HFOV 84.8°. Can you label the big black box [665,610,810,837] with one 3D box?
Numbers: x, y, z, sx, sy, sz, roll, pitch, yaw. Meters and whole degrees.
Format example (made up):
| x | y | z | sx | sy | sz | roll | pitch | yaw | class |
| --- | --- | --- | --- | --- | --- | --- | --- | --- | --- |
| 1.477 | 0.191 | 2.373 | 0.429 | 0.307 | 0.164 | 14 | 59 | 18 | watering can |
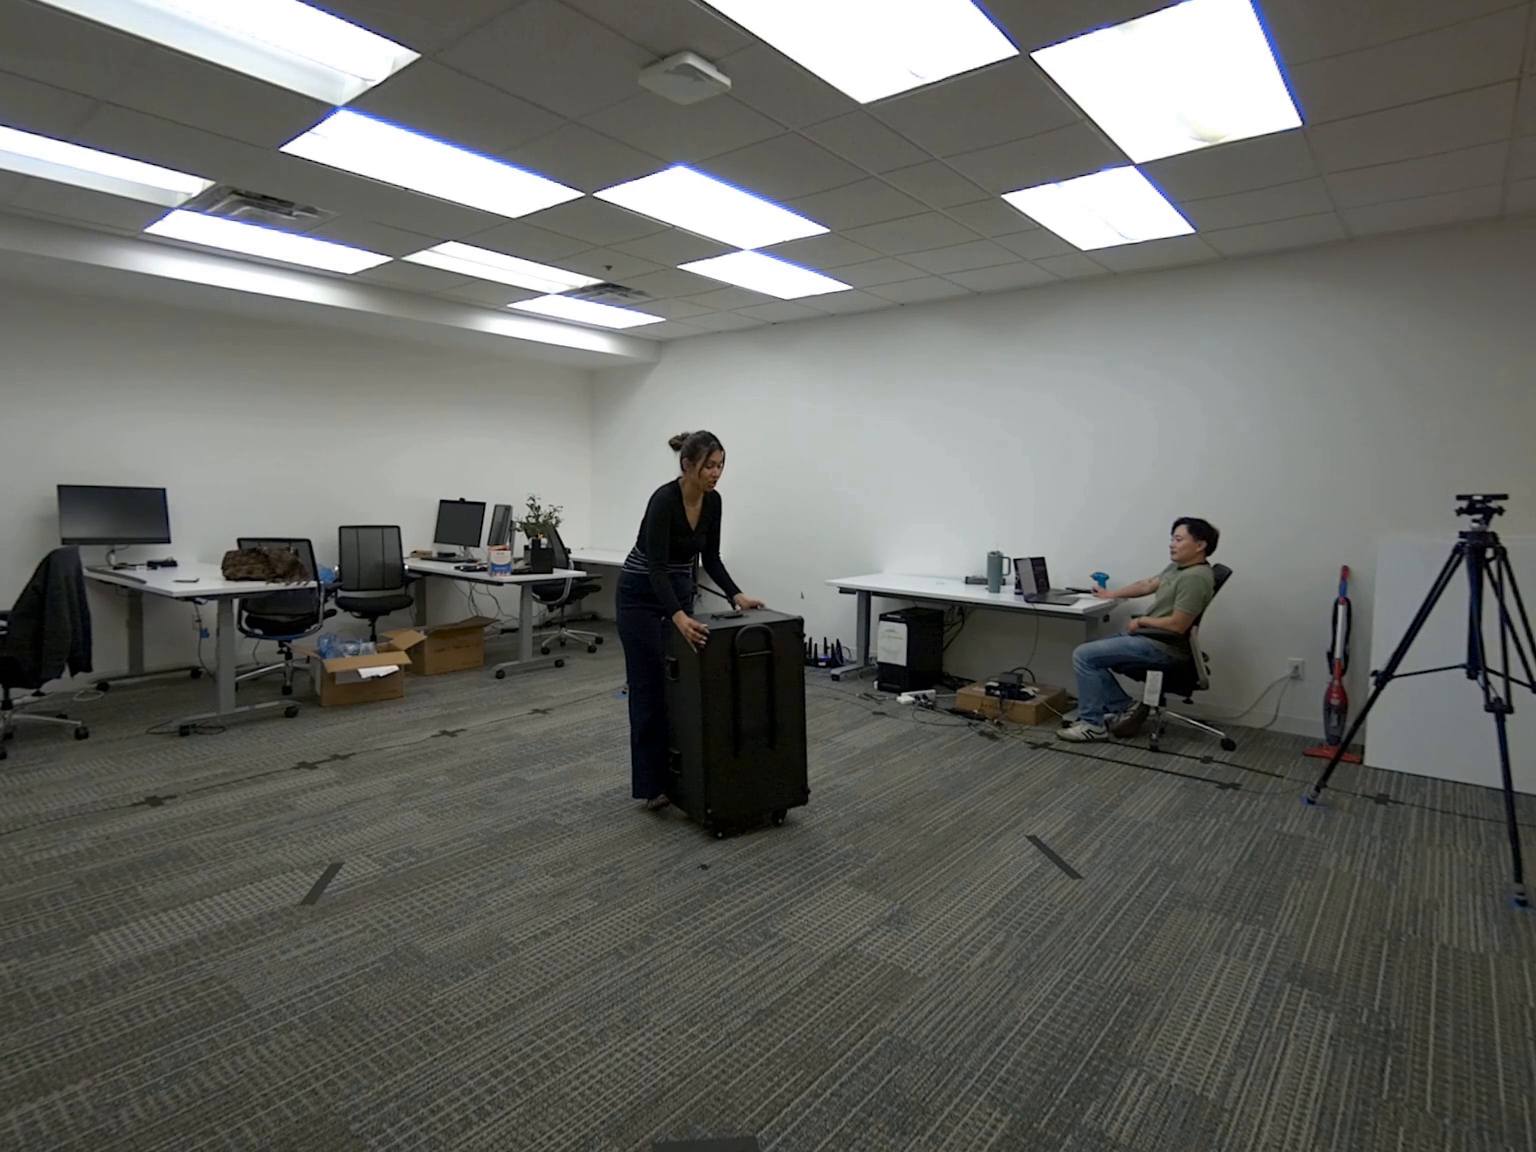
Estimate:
| x | y | z | sx | sy | sz | roll | pitch | yaw | class |
| --- | --- | --- | --- | --- | --- | --- | --- | --- | --- |
| -0.136 | 0.591 | 3.527 | 0.508 | 0.857 | 0.408 | -4 | 6 | -29 | big black box |
